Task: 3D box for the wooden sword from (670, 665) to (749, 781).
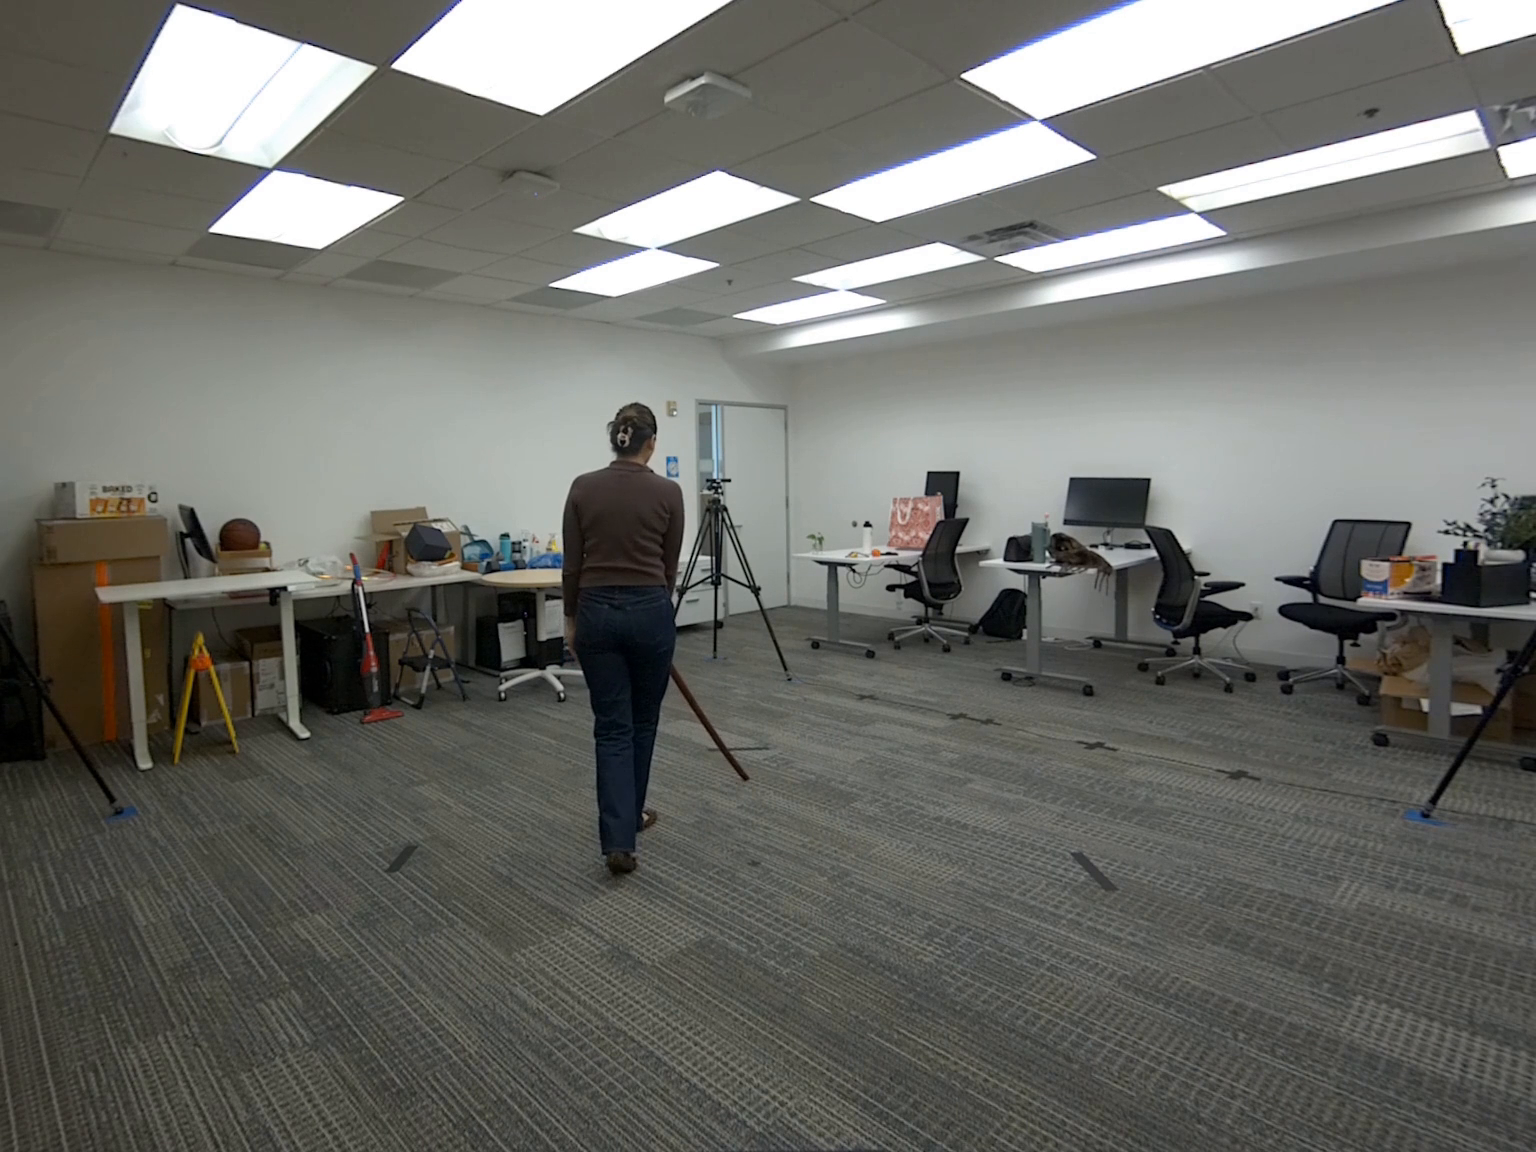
[{"bbox_3d":[-0.299,0.583,3.738,0.052,0.991,0.024,-13,35,23],"label":"wooden sword"}]
